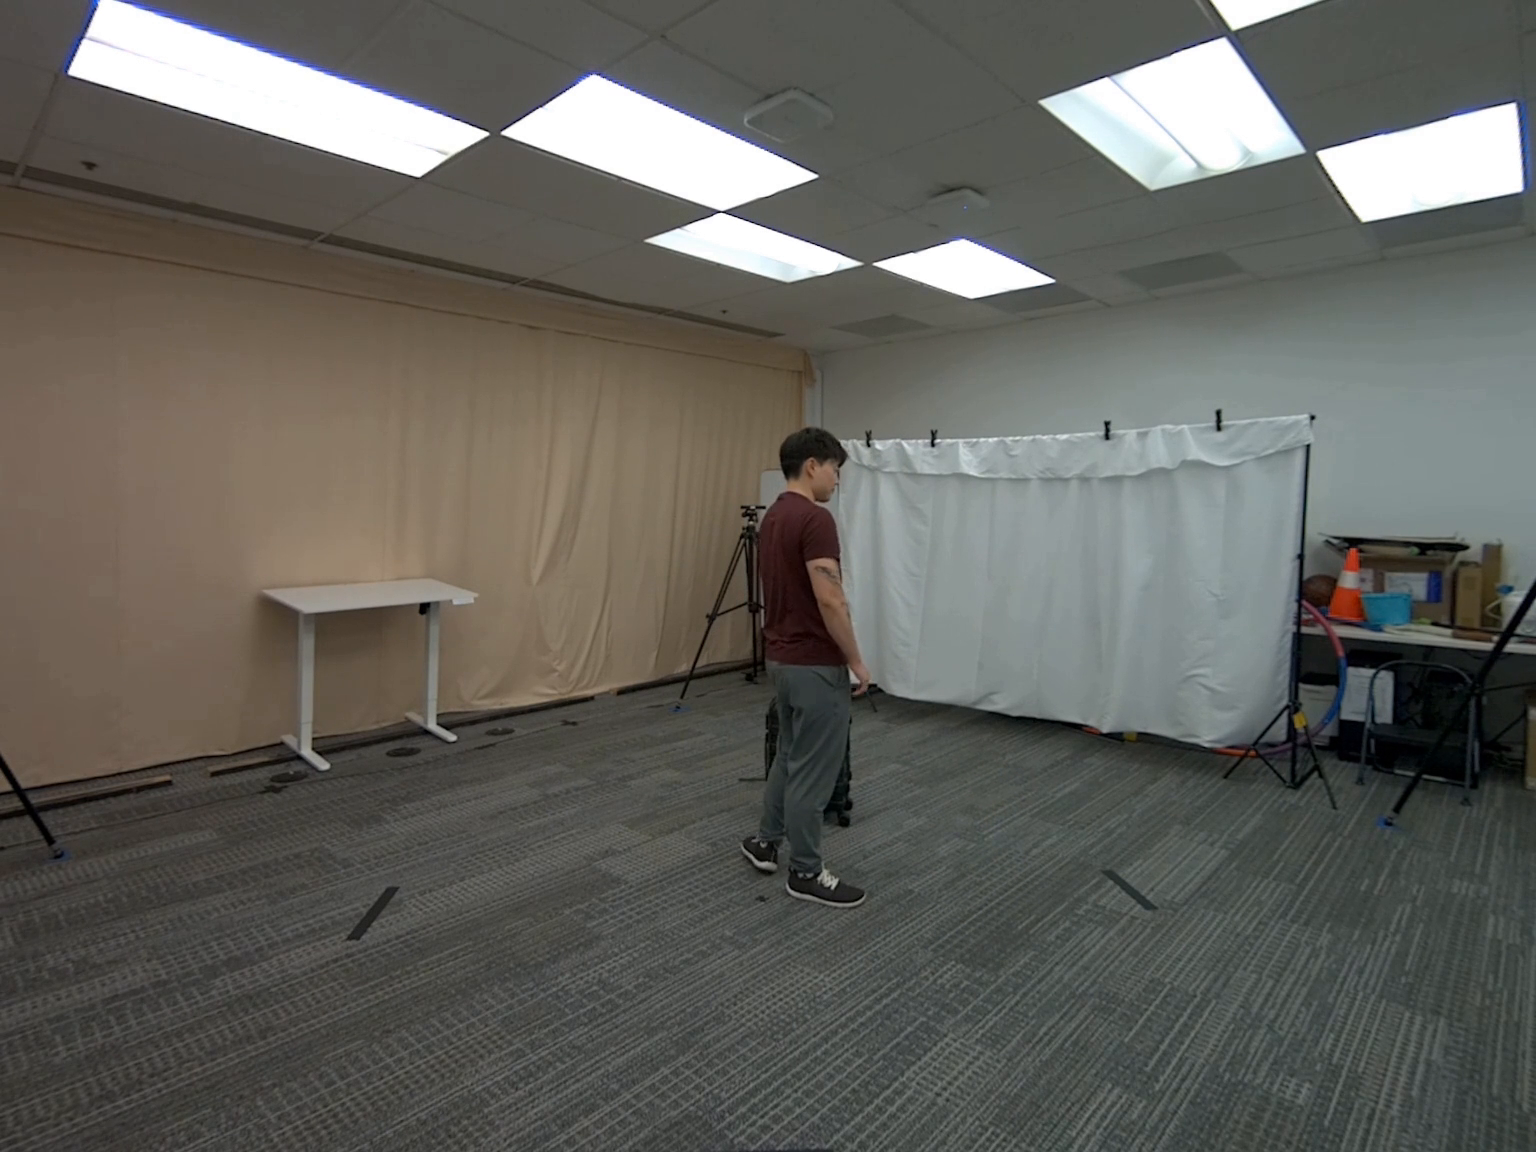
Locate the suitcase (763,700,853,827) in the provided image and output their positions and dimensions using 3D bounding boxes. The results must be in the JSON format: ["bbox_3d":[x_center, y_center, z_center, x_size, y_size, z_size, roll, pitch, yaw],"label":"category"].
[{"bbox_3d":[0.182,0.601,3.790,0.388,0.978,0.254,-1,0,9],"label":"suitcase"}]
